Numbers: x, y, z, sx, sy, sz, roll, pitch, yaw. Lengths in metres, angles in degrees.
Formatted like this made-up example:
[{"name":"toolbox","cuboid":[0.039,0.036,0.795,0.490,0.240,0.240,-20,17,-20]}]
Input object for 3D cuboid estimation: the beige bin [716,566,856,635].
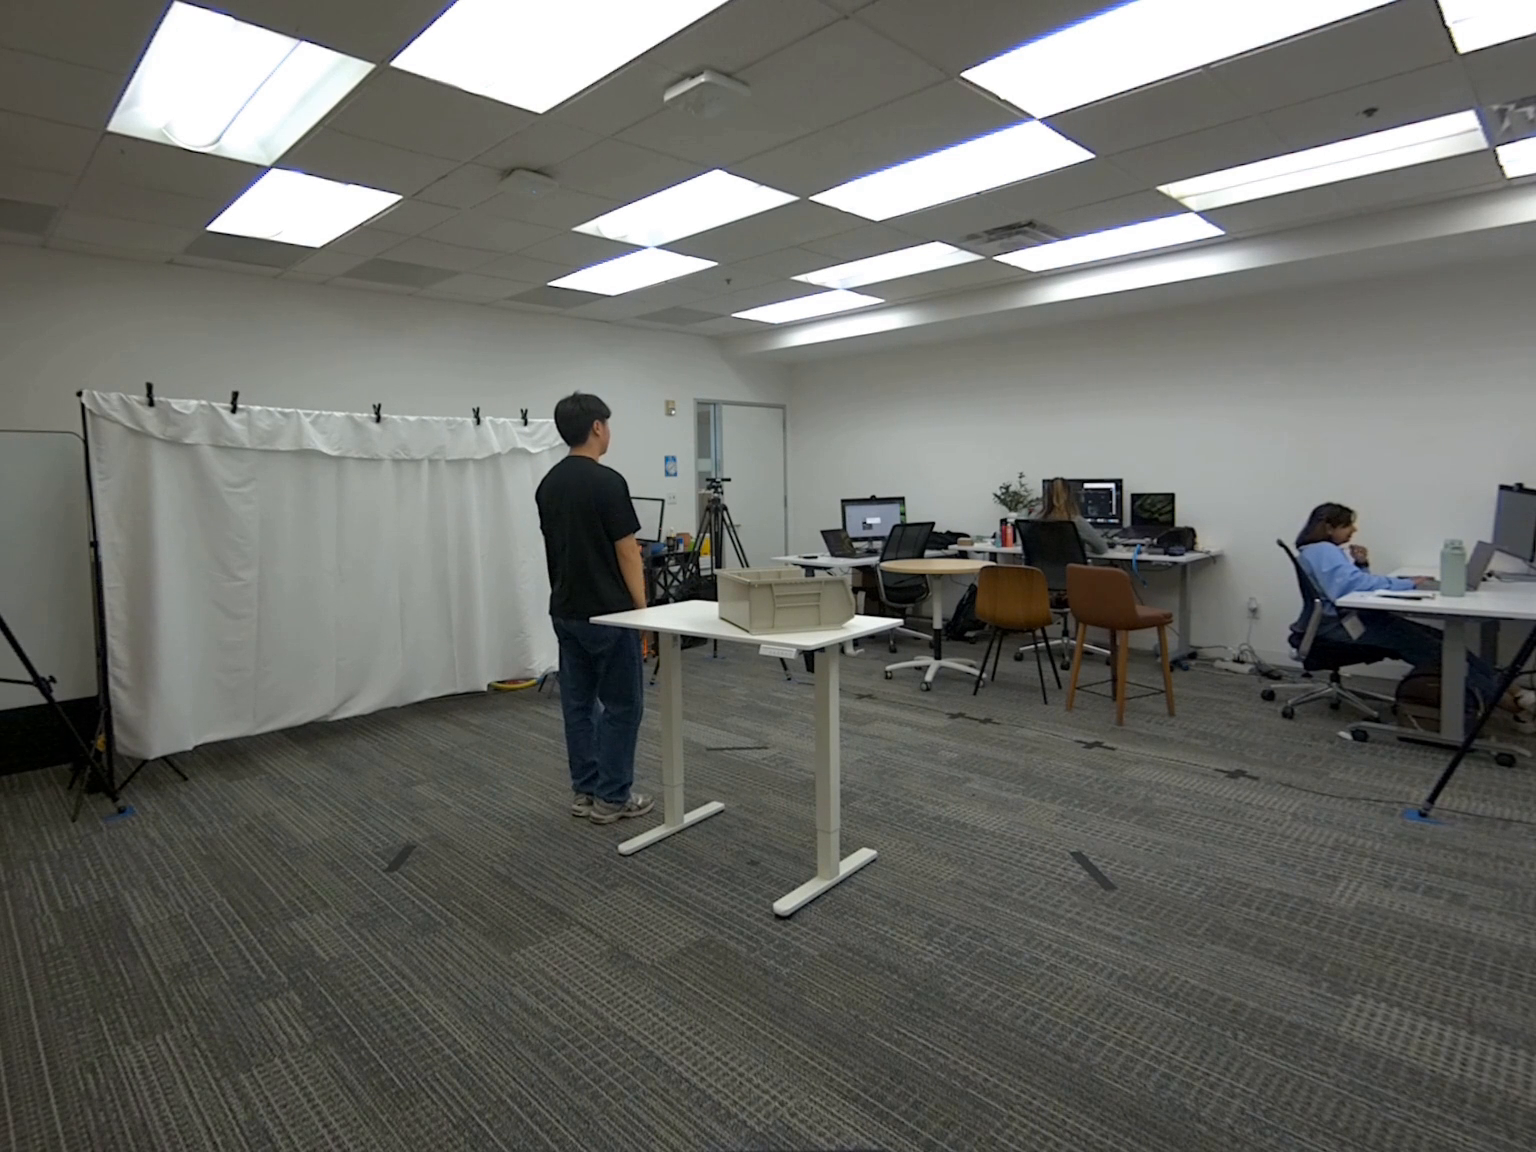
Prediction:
[{"name":"beige bin","cuboid":[0.051,0.080,3.000,0.371,0.188,0.431,-3,6,-18]}]
